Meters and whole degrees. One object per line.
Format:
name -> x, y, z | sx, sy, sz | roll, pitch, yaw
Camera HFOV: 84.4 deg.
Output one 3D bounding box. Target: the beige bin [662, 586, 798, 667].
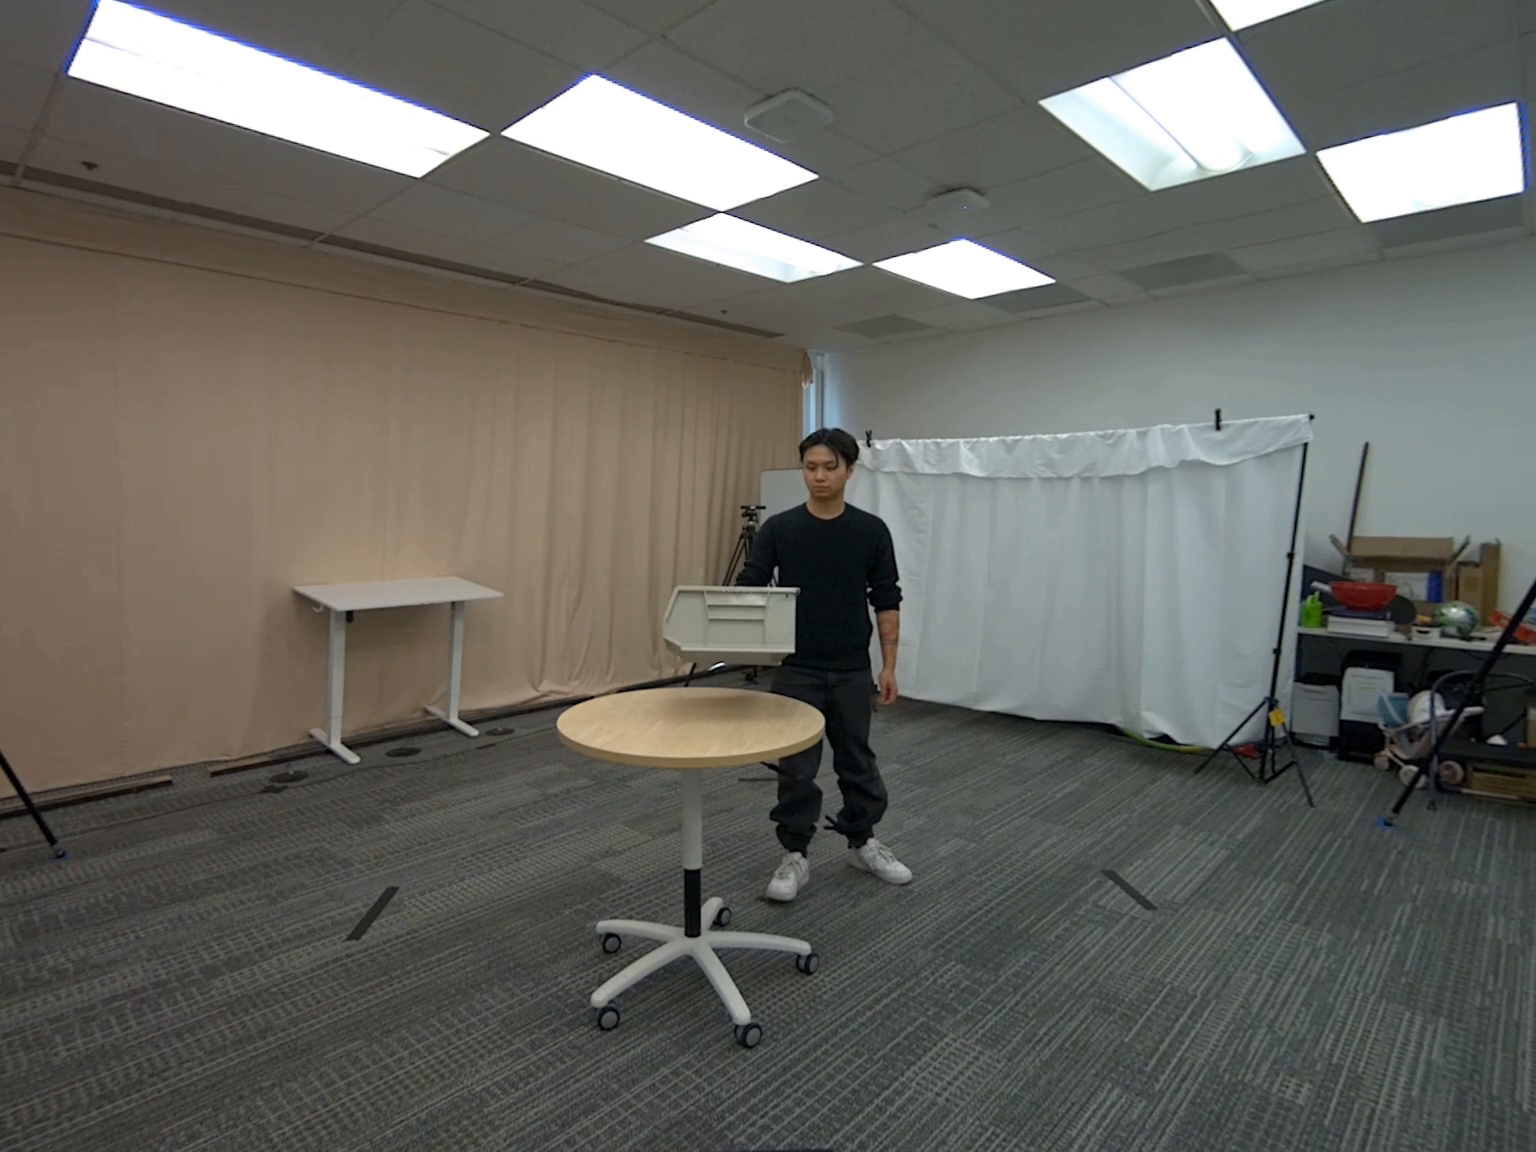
beige bin -> -0.132, 0.158, 2.519 | 0.378, 0.190, 0.419 | 3, -11, 0
